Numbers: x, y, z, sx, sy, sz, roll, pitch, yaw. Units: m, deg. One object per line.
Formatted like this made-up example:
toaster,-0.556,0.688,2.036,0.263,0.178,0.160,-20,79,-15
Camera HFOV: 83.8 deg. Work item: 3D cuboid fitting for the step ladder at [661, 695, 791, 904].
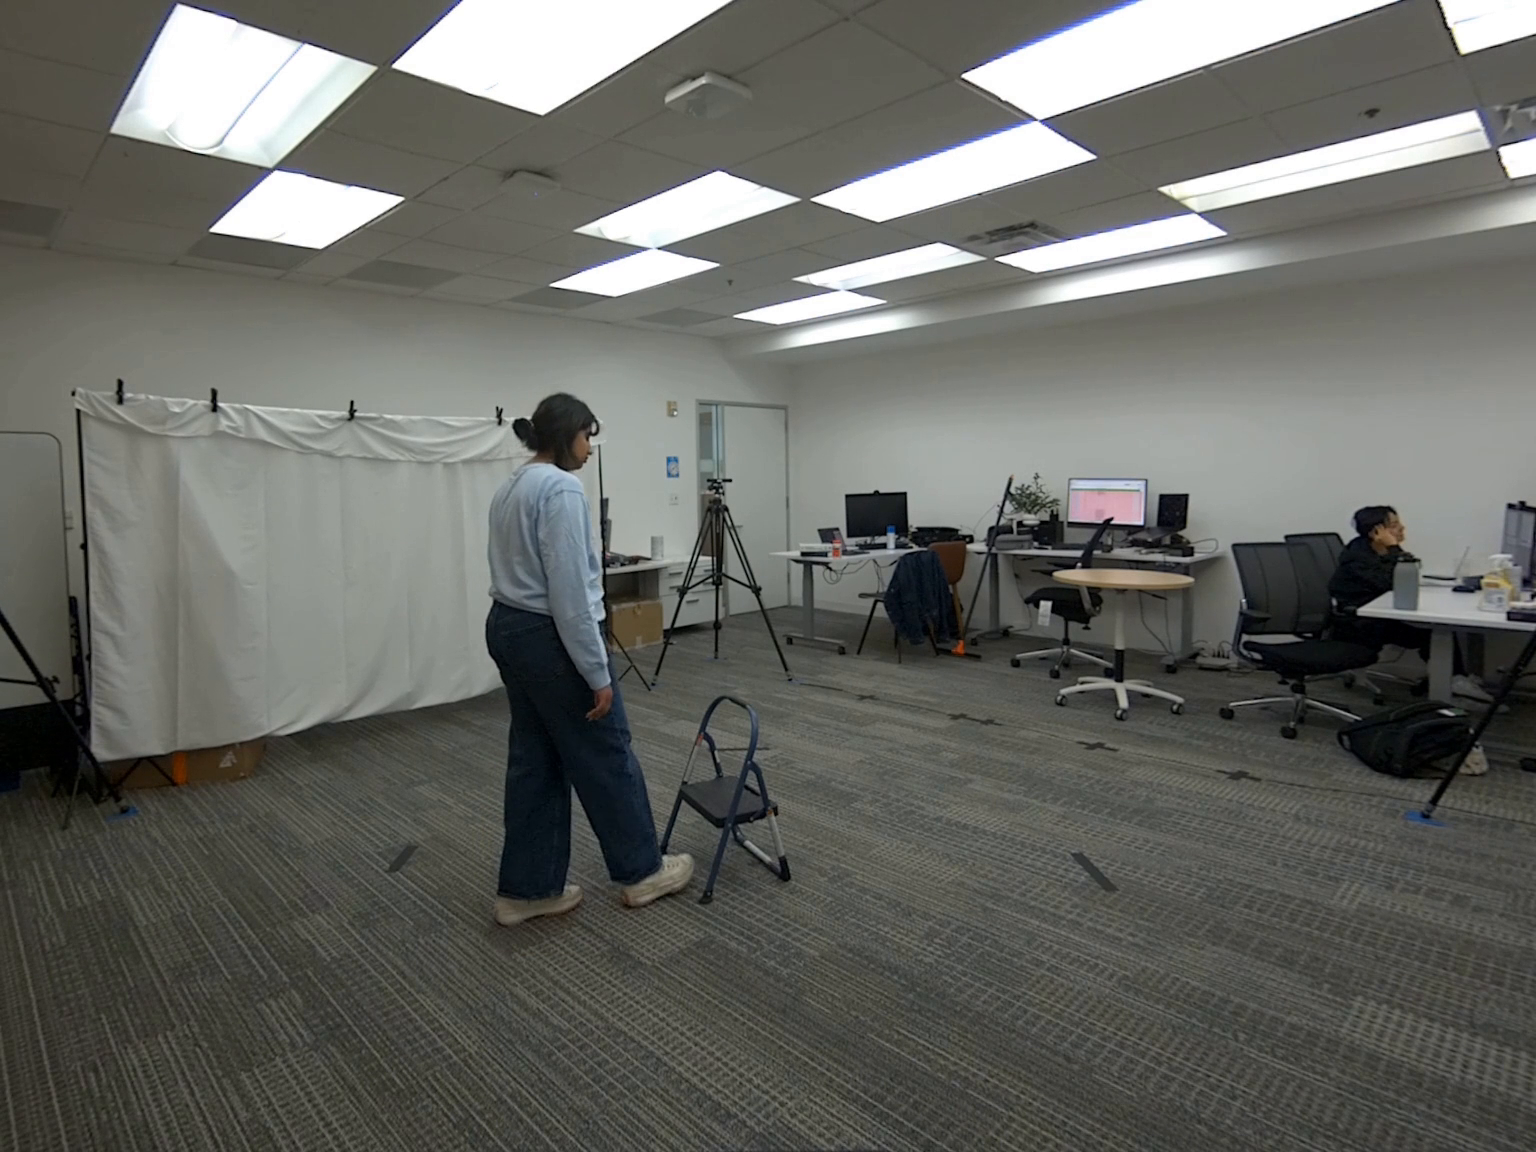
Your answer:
step ladder,-0.168,0.745,3.056,0.341,0.603,0.442,-3,6,-28
